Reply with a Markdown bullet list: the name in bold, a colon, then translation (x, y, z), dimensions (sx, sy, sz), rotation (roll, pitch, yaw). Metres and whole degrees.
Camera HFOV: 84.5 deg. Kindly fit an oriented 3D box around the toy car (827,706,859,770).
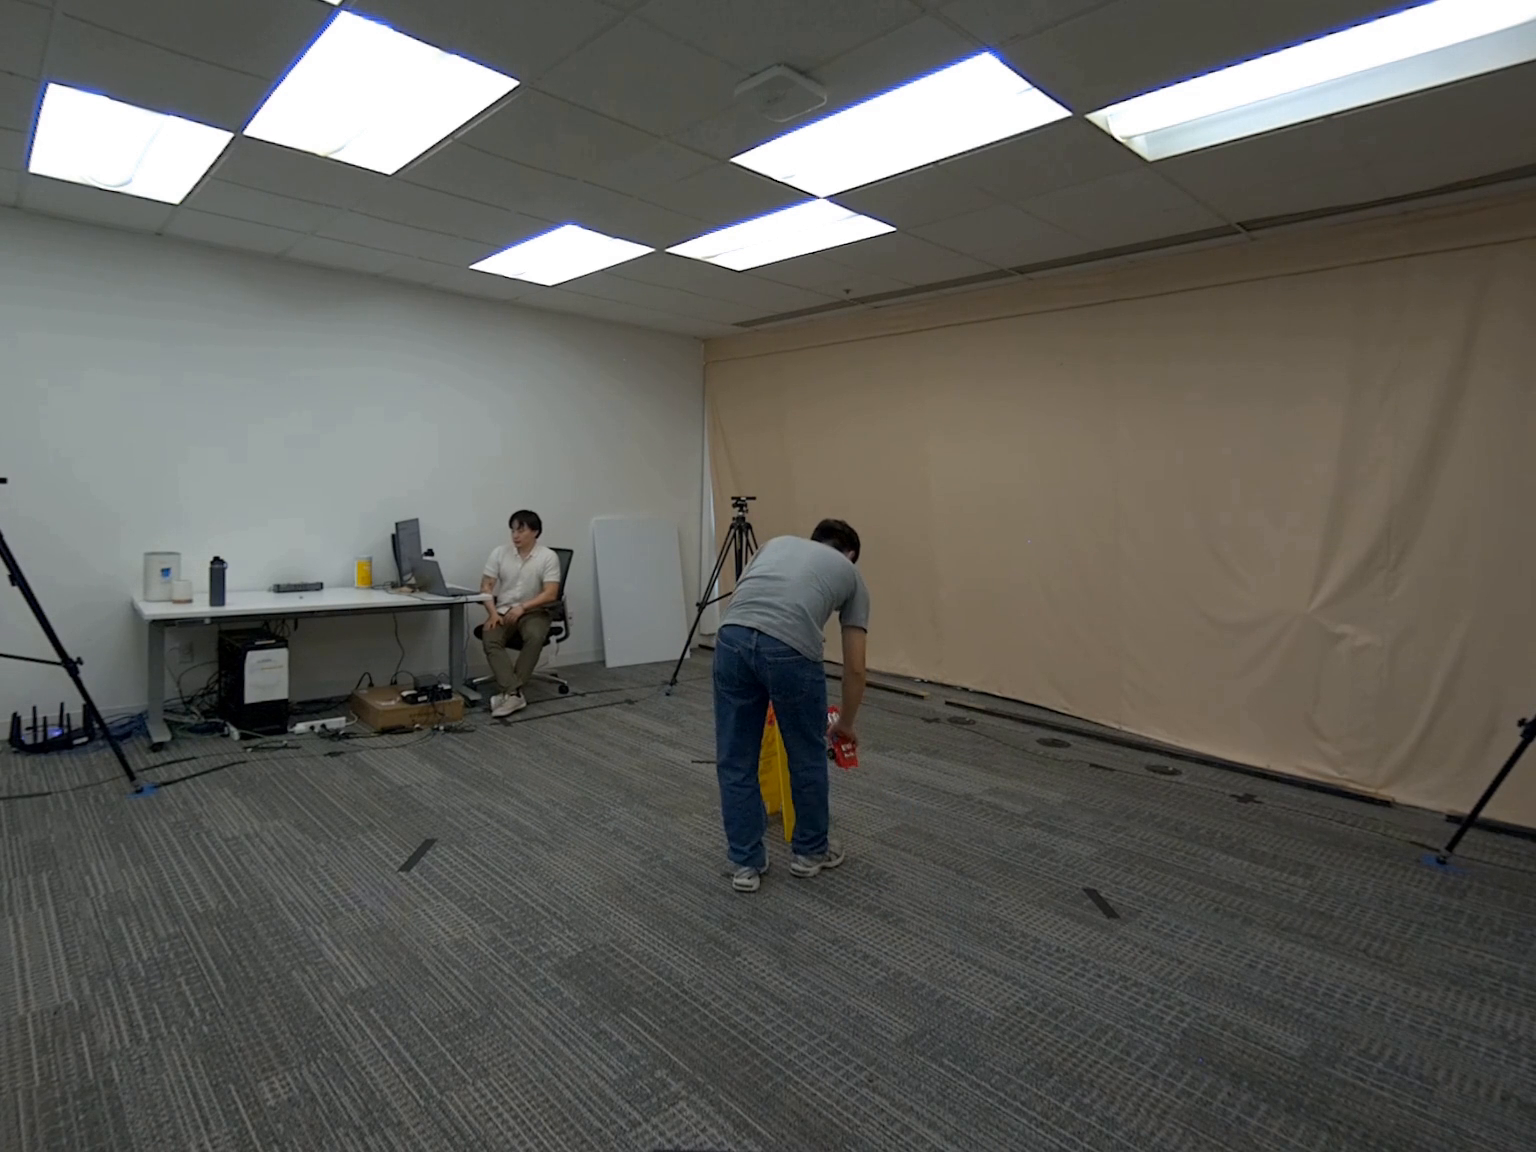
- **toy car**: translation (0.272, 0.647, 3.316), dimensions (0.127, 0.261, 0.083), rotation (-2, -34, -36)
